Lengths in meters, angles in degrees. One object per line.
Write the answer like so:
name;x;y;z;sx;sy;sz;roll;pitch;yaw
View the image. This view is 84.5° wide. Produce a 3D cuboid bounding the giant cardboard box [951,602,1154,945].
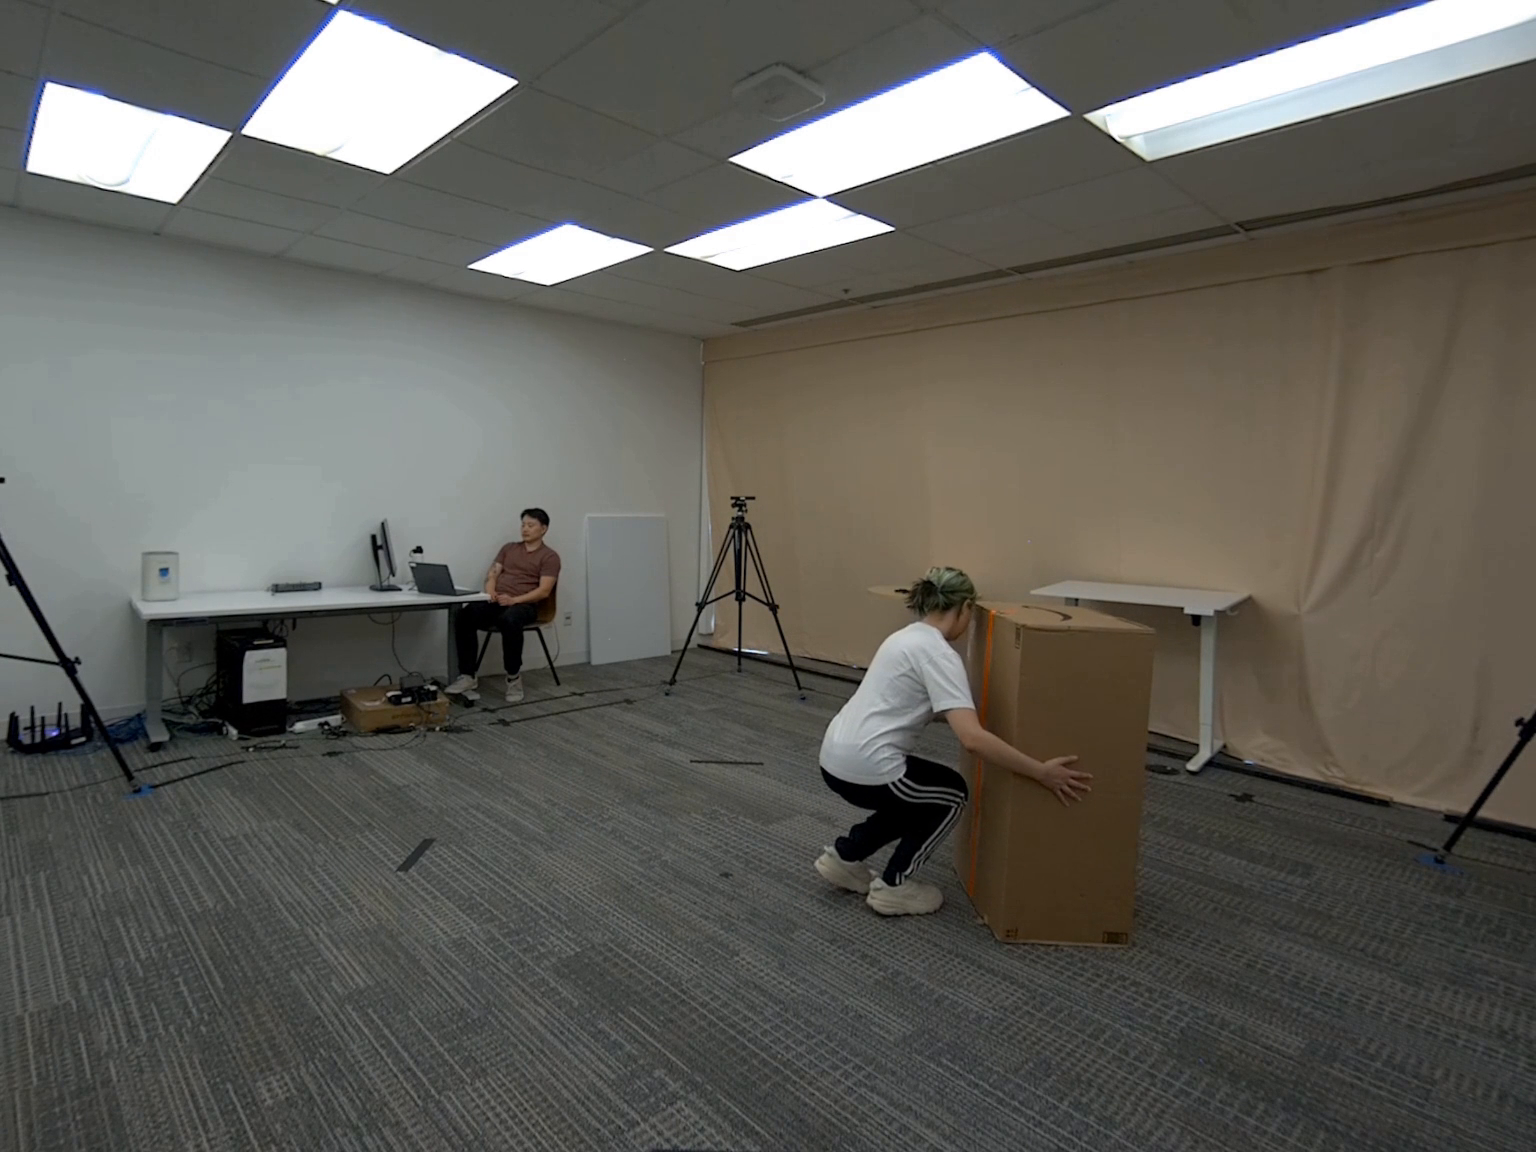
giant cardboard box;0.954;0.642;2.918;0.446;1.024;0.586;4;4;-2
